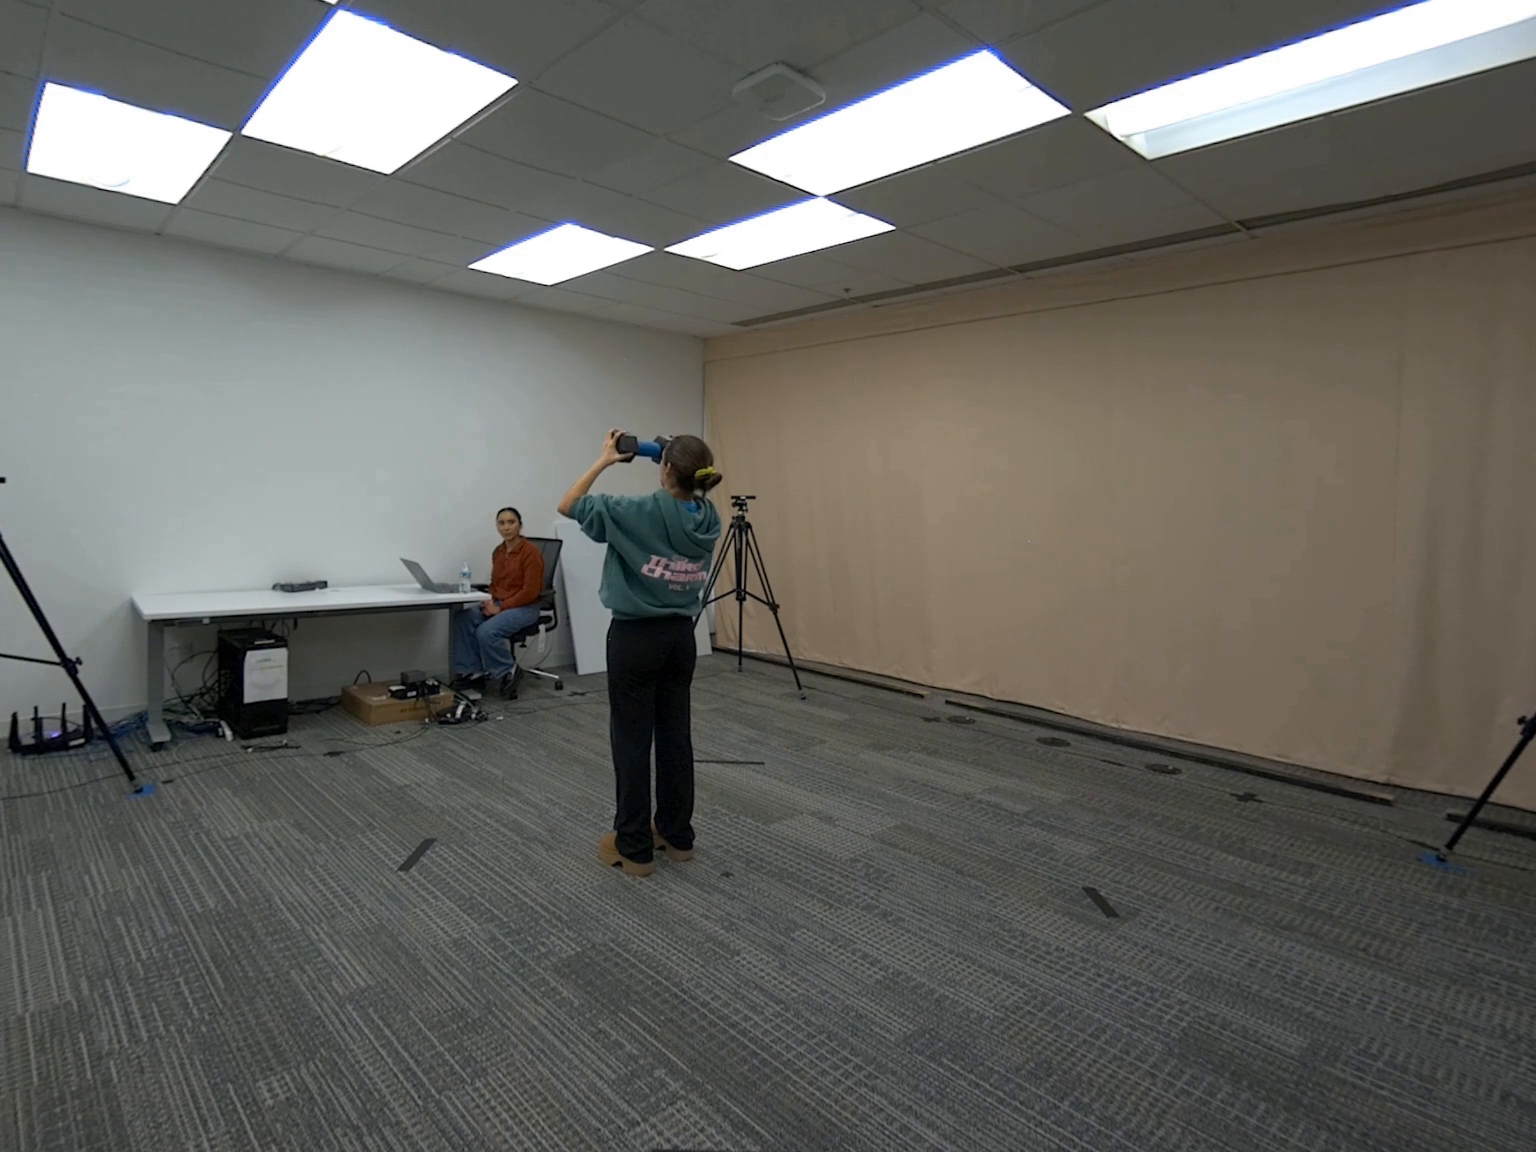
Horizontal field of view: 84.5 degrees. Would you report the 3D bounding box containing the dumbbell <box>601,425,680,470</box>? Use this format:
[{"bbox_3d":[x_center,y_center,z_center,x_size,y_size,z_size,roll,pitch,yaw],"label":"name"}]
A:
[{"bbox_3d":[-0.479,-0.490,3.236,0.110,0.123,0.287,-13,-8,43],"label":"dumbbell"}]
